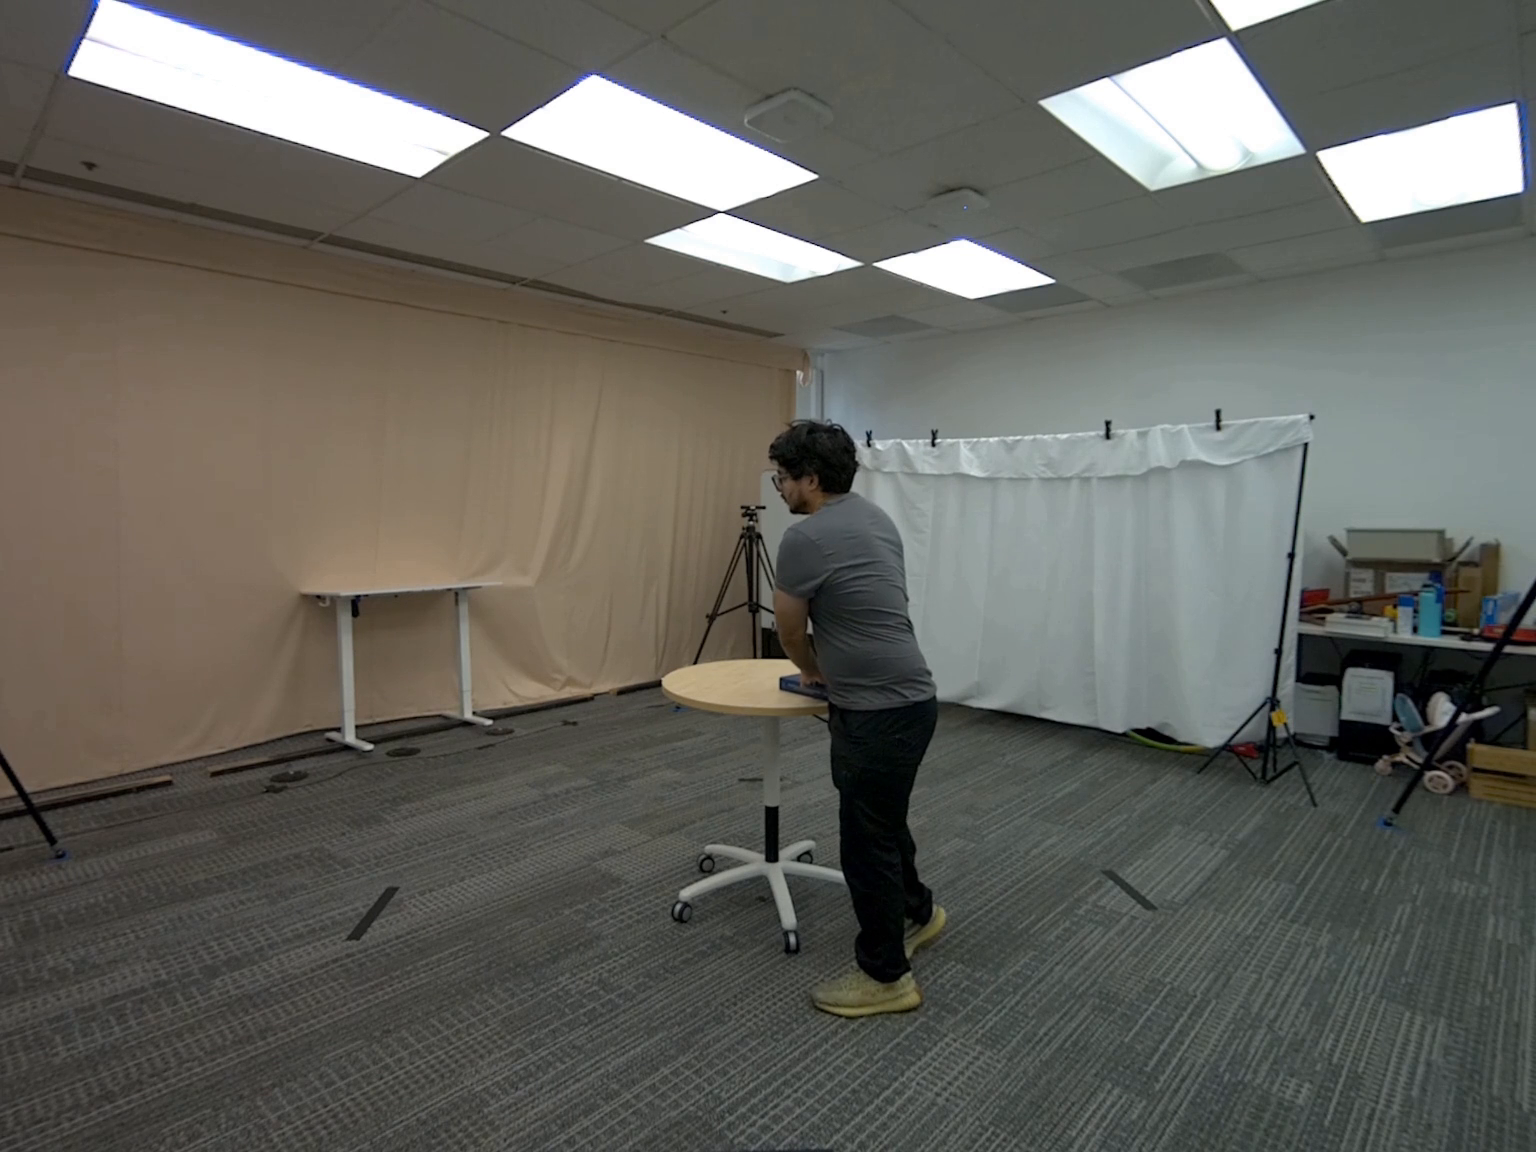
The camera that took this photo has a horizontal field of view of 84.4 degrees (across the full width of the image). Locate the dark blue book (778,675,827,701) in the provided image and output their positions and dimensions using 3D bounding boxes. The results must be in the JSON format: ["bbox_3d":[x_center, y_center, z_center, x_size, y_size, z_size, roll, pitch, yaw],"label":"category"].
[{"bbox_3d":[0.187,0.362,2.747,0.158,0.045,0.253,-4,7,-44],"label":"dark blue book"}]
